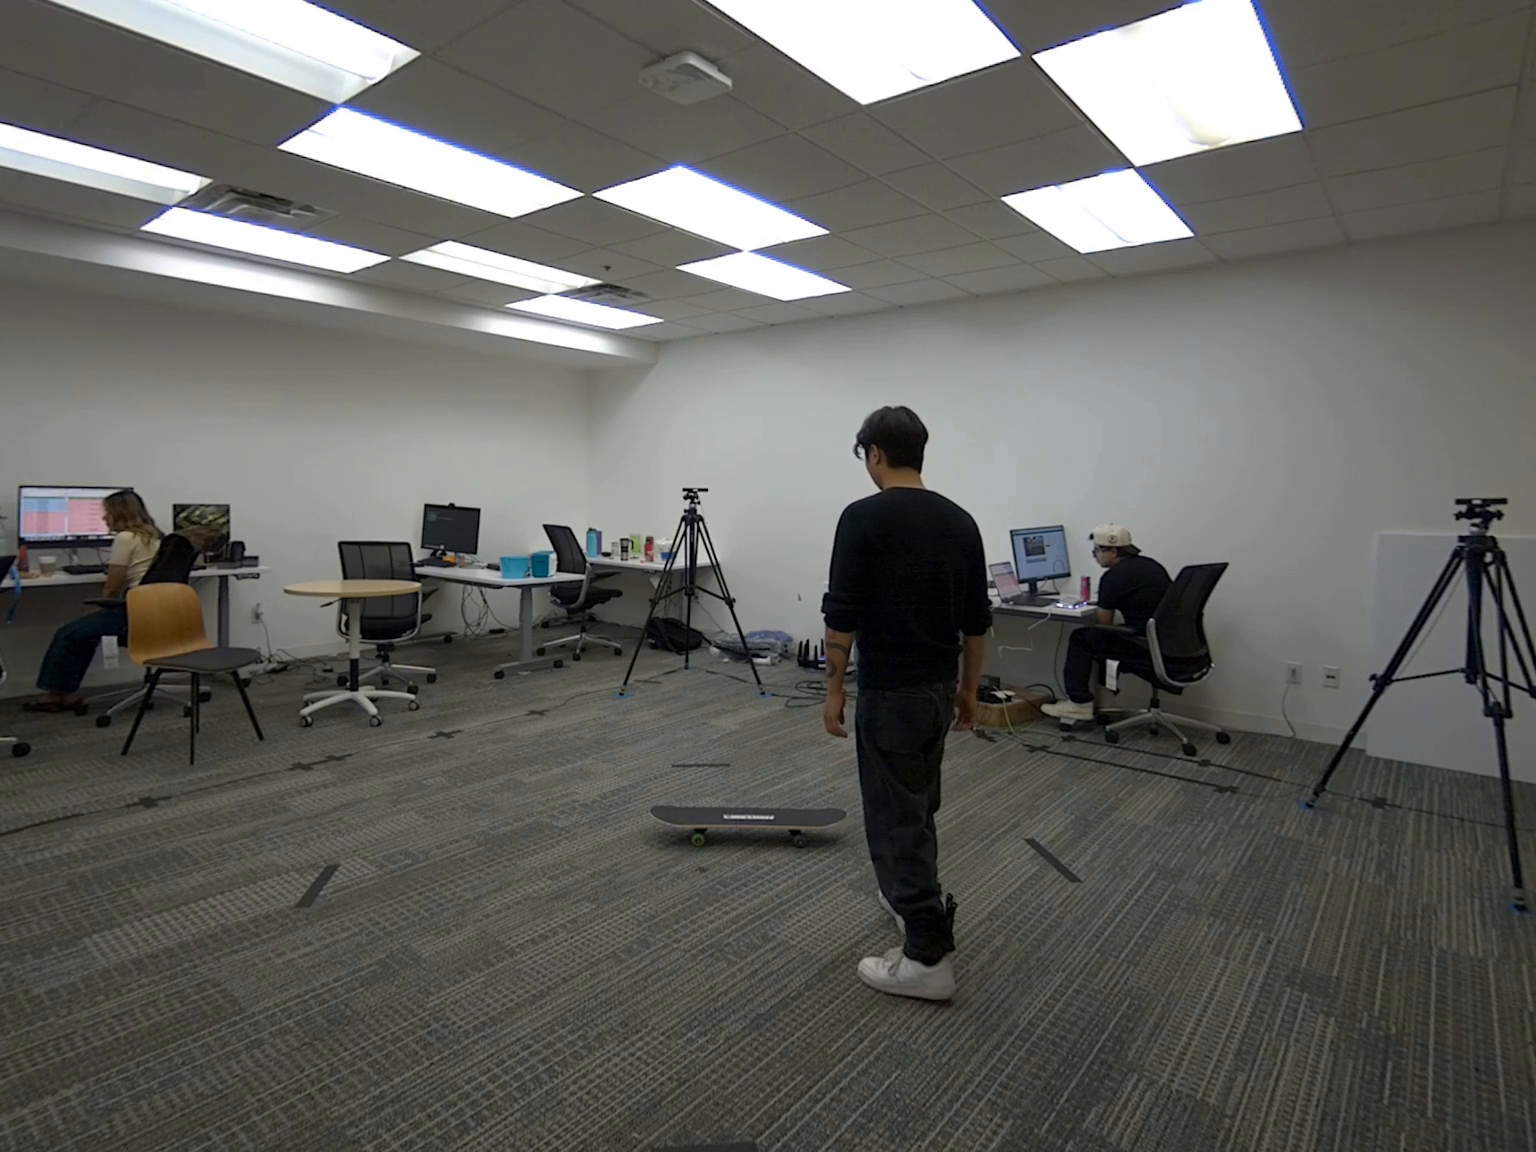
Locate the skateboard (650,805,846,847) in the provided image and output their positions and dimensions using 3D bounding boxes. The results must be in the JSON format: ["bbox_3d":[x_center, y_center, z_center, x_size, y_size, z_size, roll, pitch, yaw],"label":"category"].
[{"bbox_3d":[-0.090,0.988,3.395,0.784,0.110,0.194,1,4,-2],"label":"skateboard"}]
